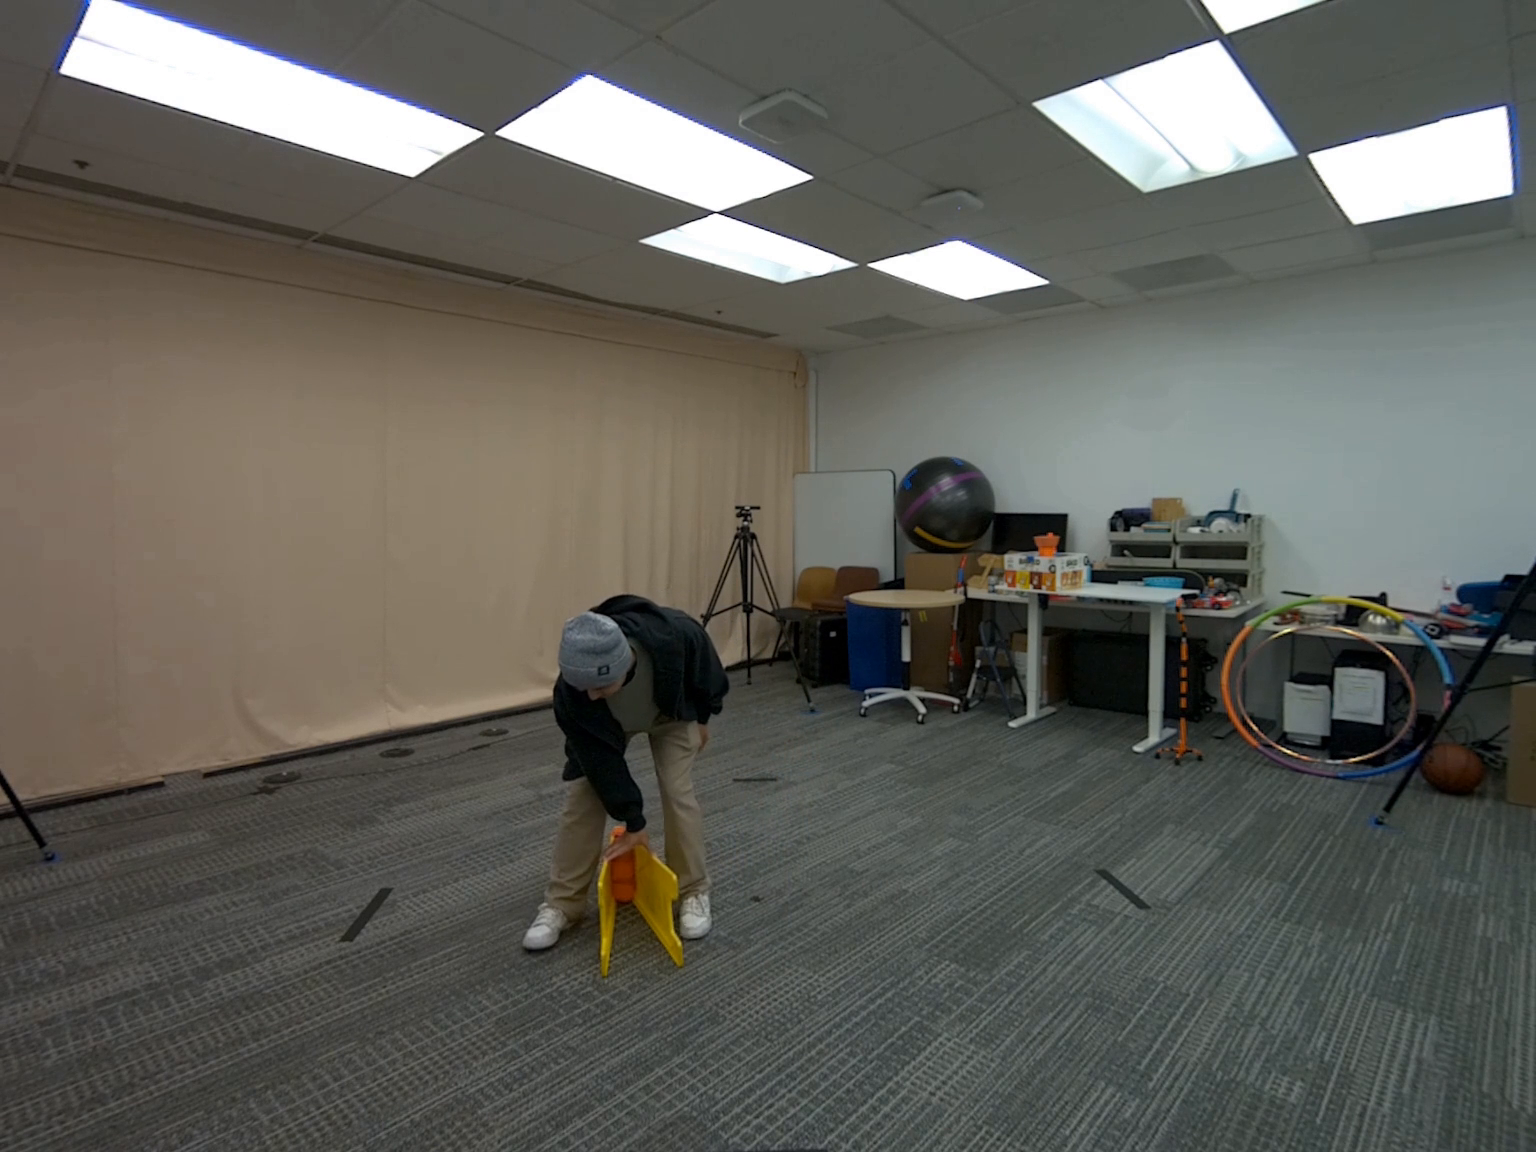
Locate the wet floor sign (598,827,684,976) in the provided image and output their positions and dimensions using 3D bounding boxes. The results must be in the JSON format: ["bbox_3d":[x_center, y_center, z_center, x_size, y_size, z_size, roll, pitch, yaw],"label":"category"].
[{"bbox_3d":[-0.476,1.036,2.821,0.285,0.282,0.656,-1,2,-15],"label":"wet floor sign"}]
